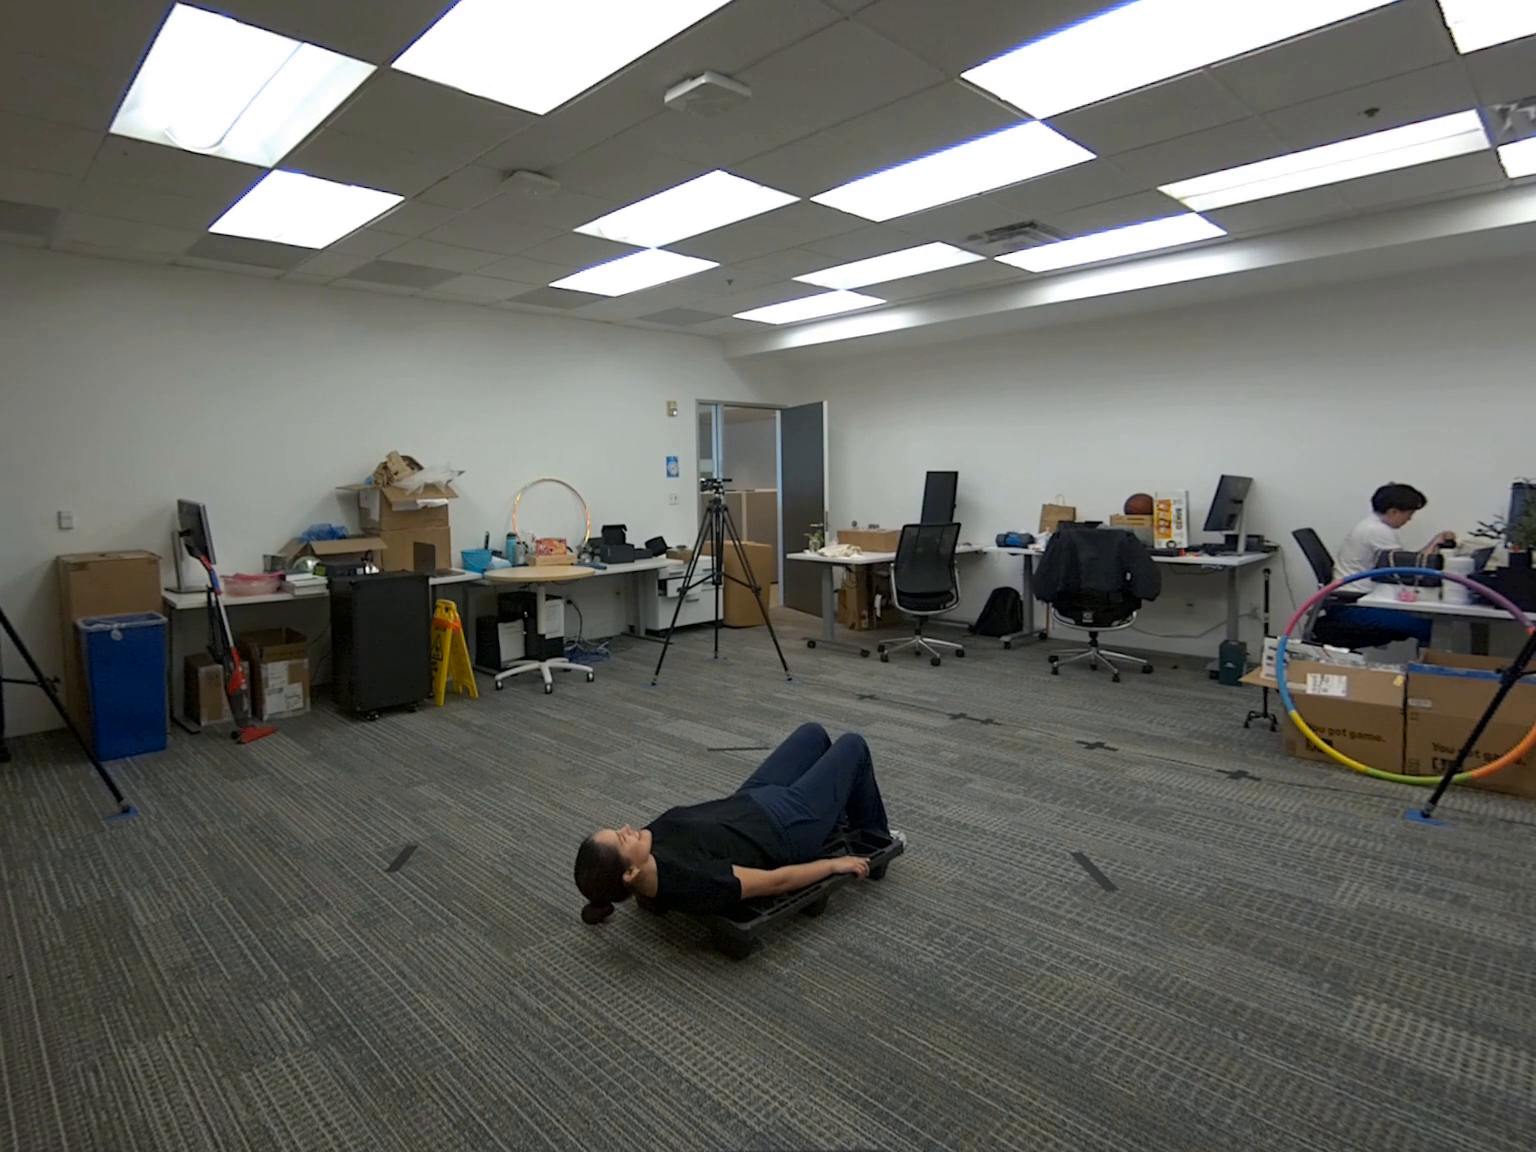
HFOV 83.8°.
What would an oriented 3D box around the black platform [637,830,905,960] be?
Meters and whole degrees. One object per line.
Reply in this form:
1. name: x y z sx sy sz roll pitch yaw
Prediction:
1. black platform: -0.009 1.009 2.897 0.623 0.143 0.785 4 9 43
